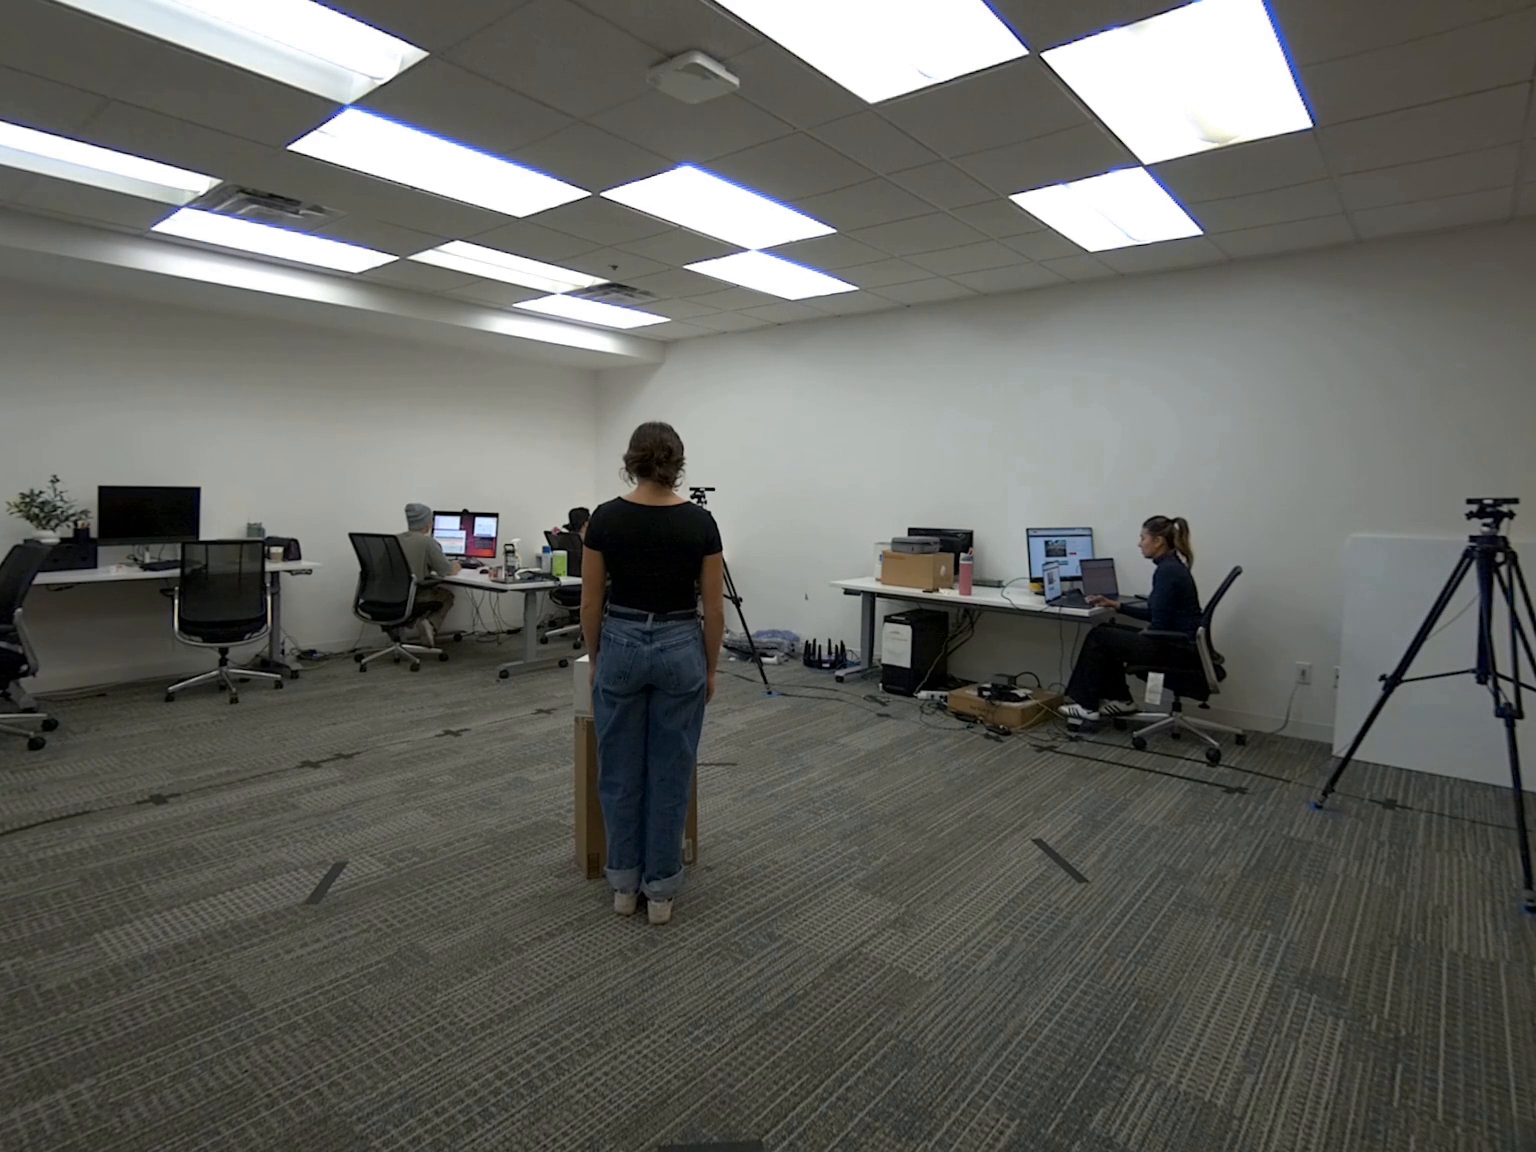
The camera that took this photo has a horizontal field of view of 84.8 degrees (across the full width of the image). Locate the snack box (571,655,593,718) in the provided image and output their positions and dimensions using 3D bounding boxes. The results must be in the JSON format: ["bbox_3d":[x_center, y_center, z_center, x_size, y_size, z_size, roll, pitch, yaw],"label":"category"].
[{"bbox_3d":[-0.470,0.390,3.136,0.410,0.205,0.337,2,4,11],"label":"snack box"}]
